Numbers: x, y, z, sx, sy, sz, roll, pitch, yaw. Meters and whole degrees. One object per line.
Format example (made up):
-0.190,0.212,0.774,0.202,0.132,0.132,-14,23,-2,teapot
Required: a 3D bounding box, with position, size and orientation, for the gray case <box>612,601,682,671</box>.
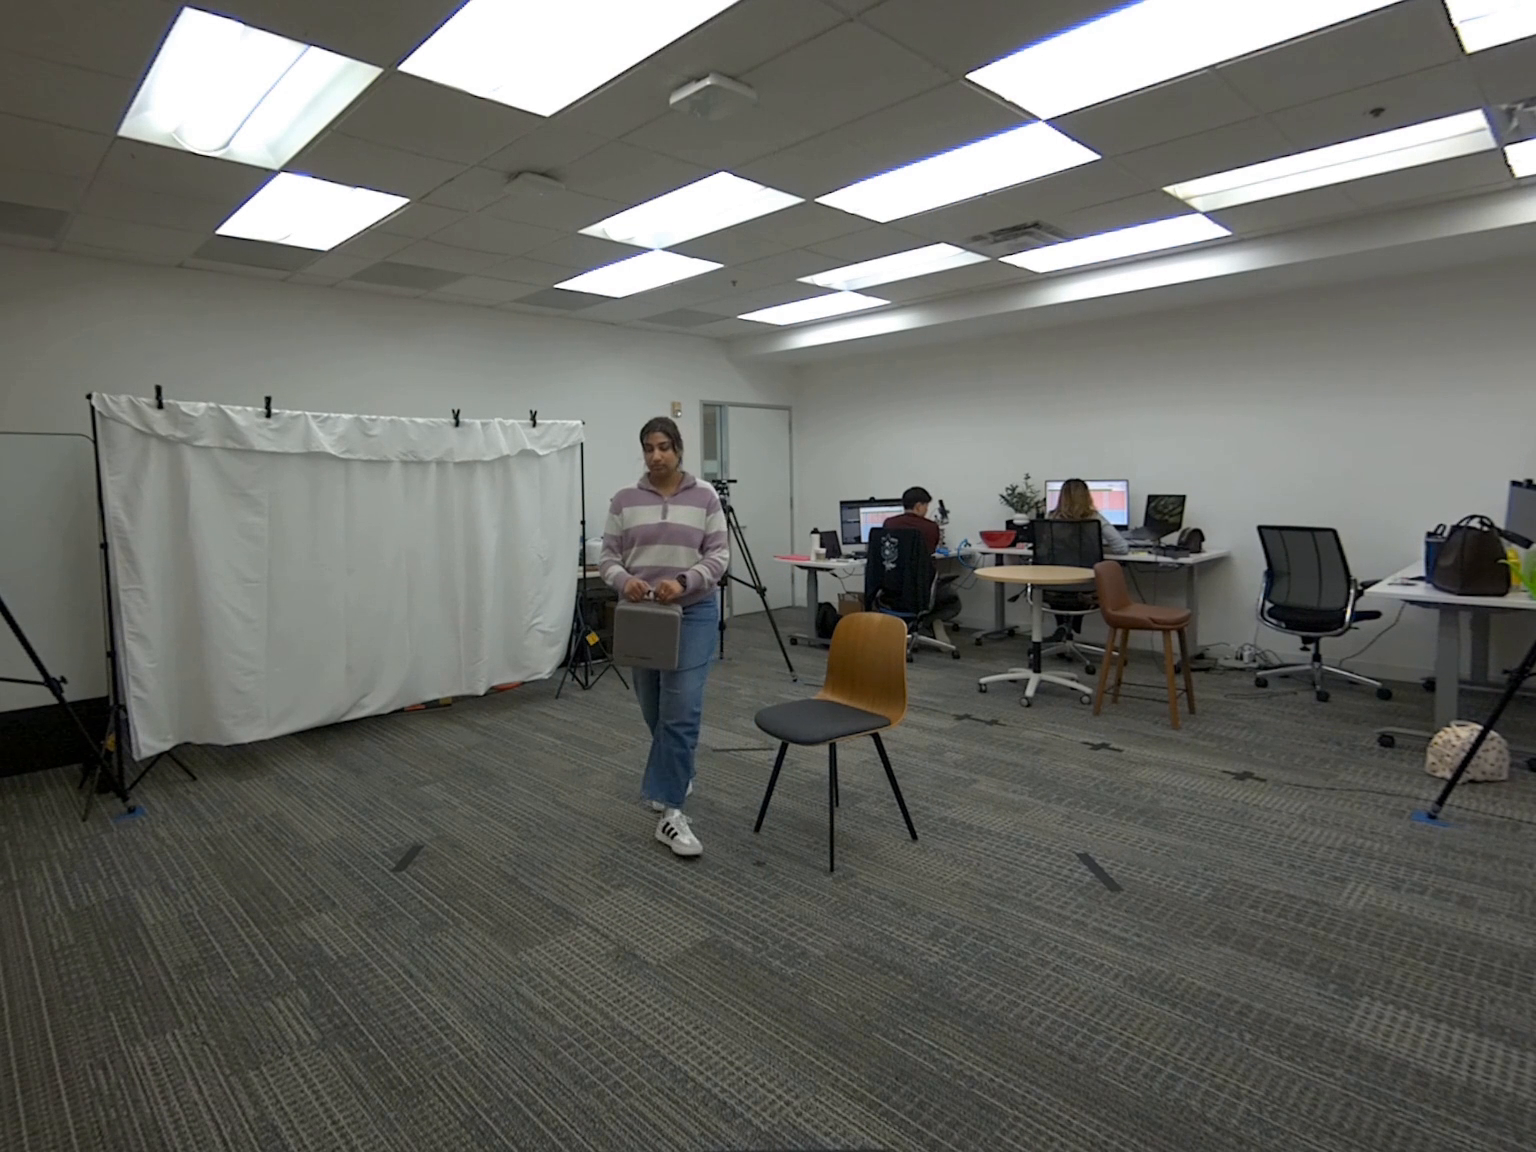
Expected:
-0.462,0.218,3.255,0.259,0.257,0.105,6,16,6,gray case
